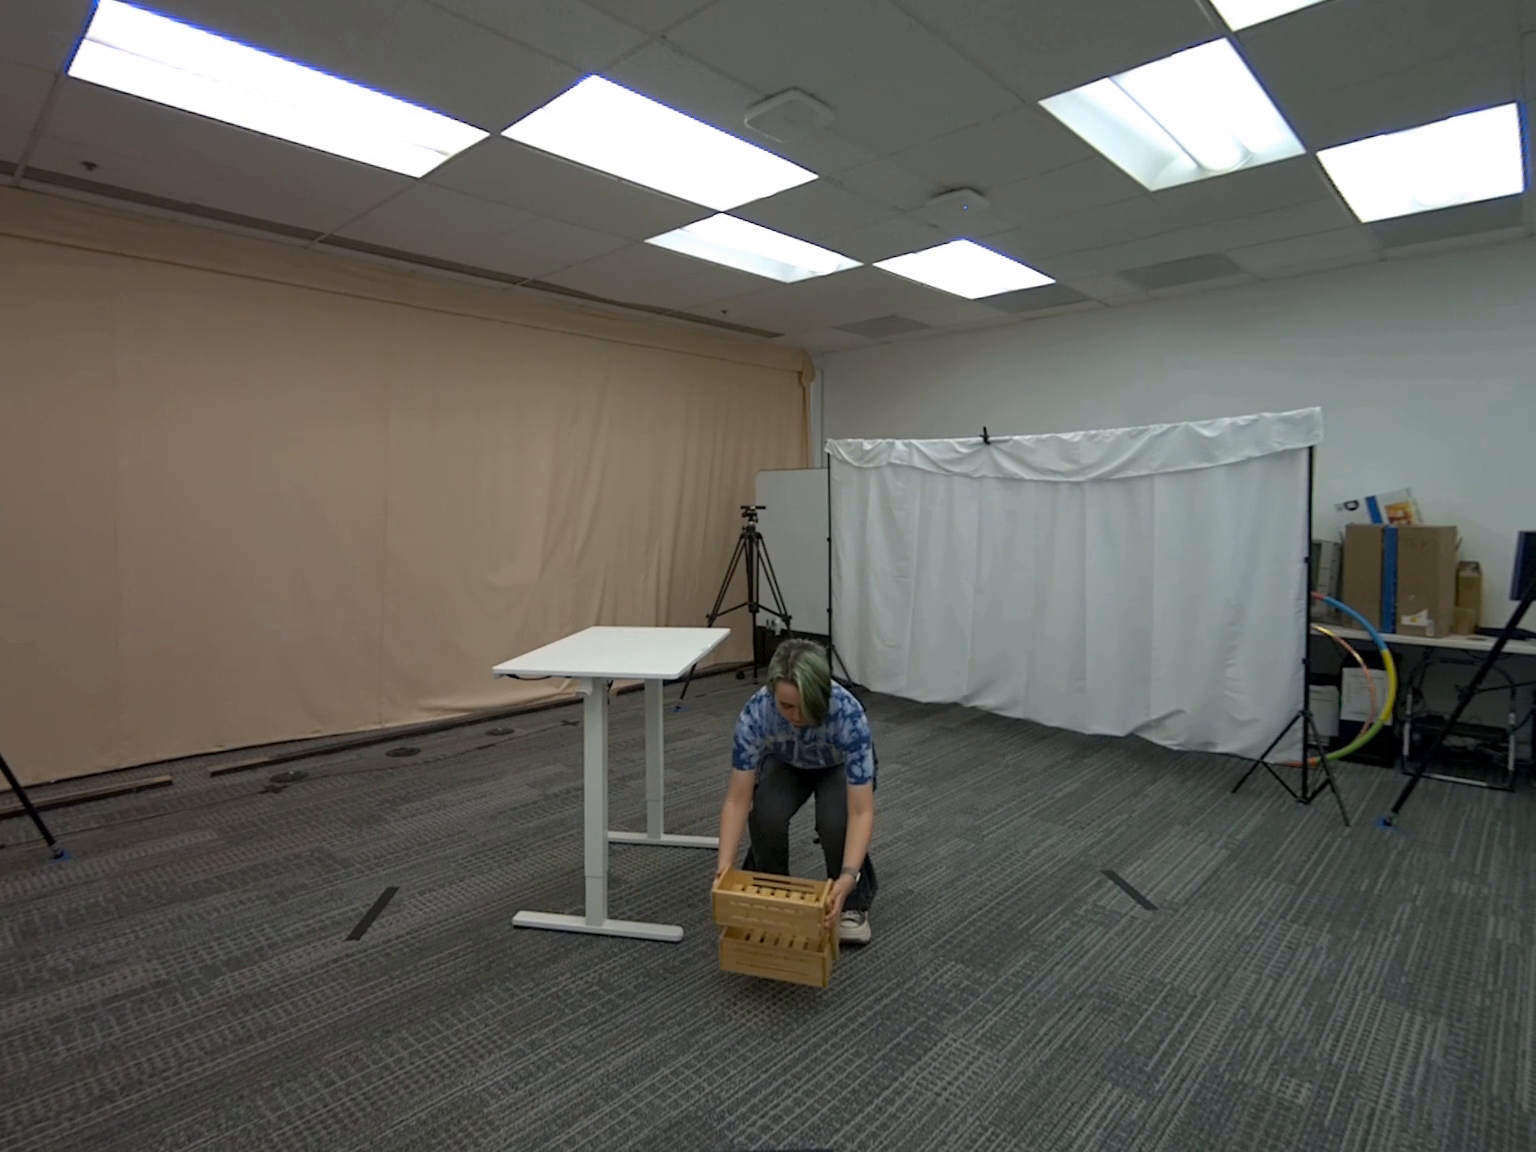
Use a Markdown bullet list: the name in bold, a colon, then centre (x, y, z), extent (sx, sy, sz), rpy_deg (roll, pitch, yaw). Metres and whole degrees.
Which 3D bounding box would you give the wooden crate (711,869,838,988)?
- **wooden crate**: centre (0.033, 0.947, 2.383), extent (0.330, 0.272, 0.298), rpy_deg (1, 9, 16)
